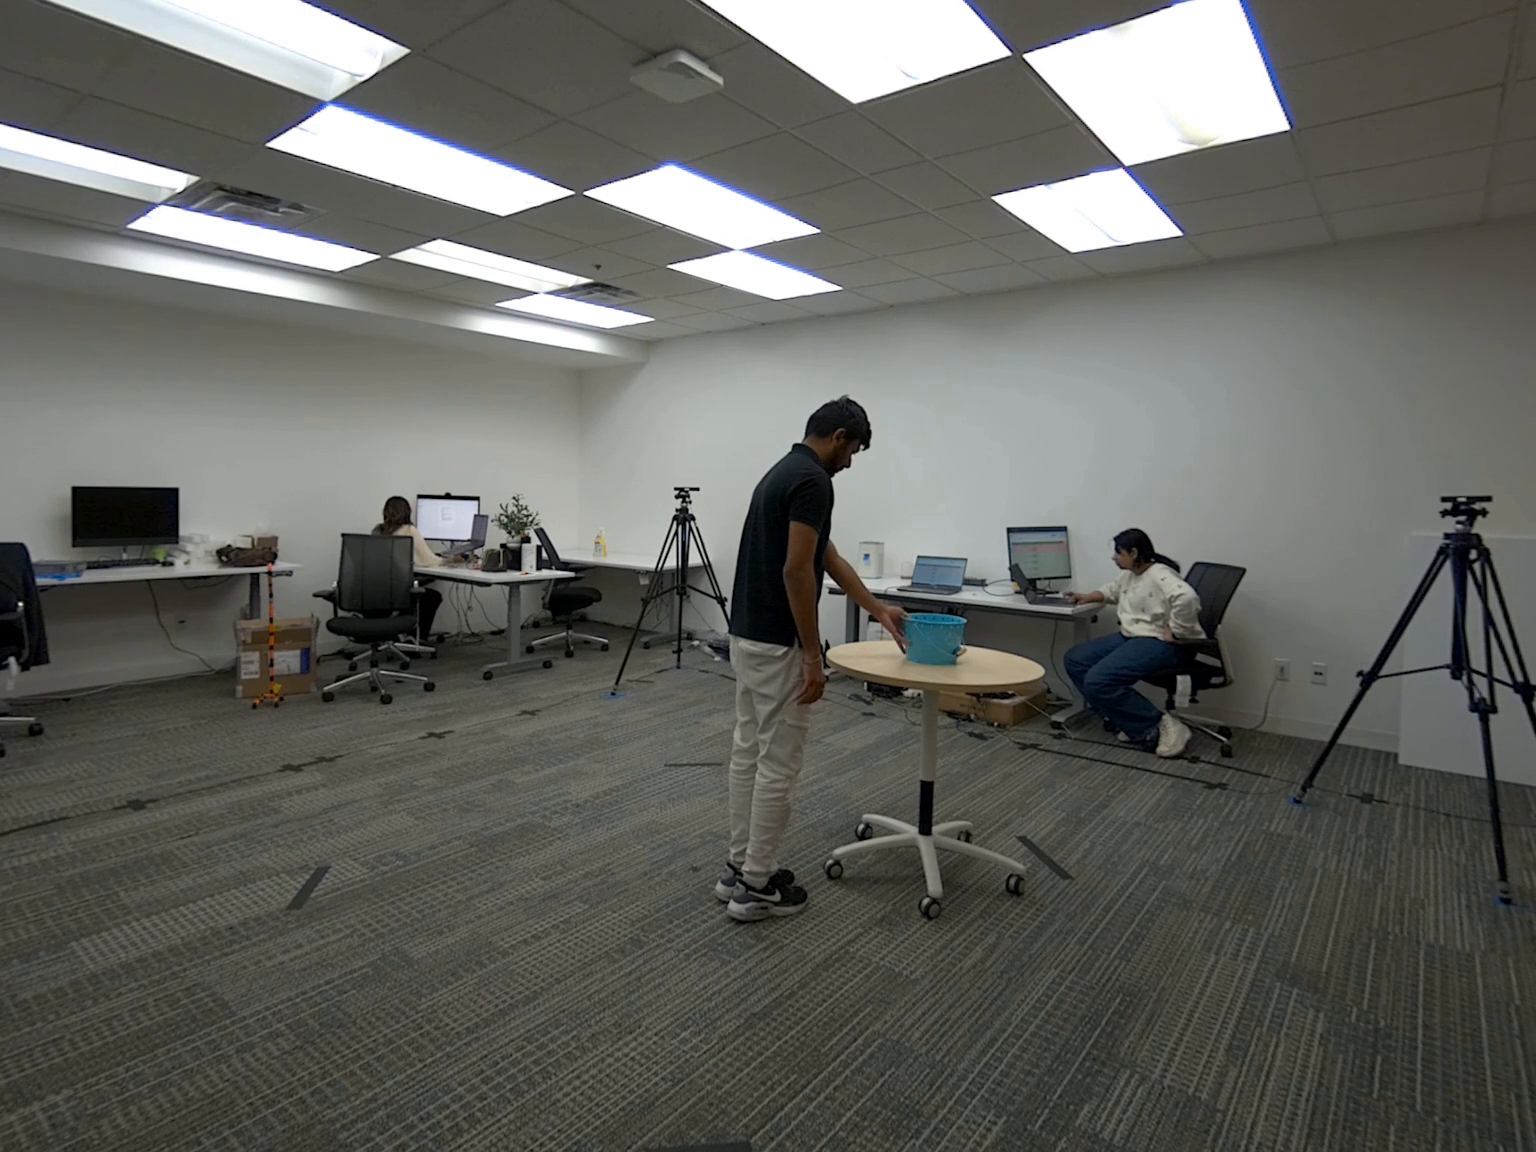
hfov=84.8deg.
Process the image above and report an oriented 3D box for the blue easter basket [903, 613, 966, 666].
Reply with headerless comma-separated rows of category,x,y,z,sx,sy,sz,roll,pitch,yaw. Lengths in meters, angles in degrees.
blue easter basket,0.596,0.229,3.080,0.243,0.155,0.245,1,4,-2
